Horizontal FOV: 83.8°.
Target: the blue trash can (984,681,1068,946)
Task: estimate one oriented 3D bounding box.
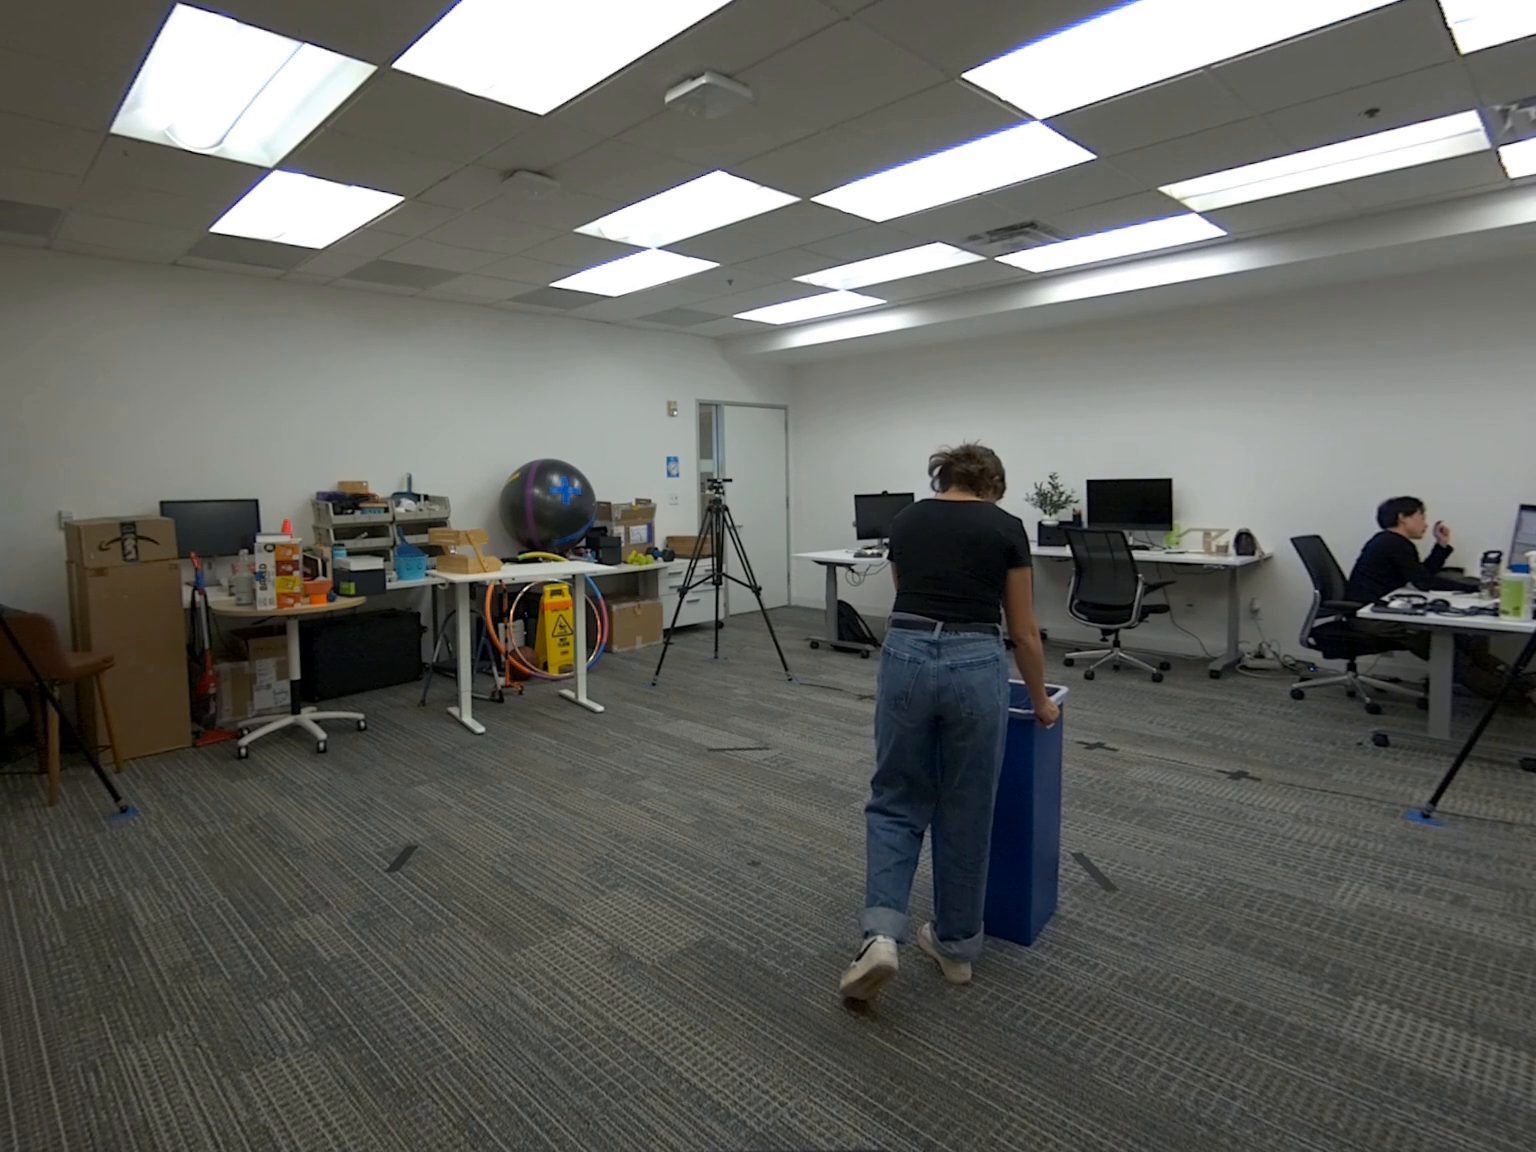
[{"bbox_3d":[0.723,0.718,2.710,0.385,0.711,0.368,2,5,36],"label":"blue trash can"}]
